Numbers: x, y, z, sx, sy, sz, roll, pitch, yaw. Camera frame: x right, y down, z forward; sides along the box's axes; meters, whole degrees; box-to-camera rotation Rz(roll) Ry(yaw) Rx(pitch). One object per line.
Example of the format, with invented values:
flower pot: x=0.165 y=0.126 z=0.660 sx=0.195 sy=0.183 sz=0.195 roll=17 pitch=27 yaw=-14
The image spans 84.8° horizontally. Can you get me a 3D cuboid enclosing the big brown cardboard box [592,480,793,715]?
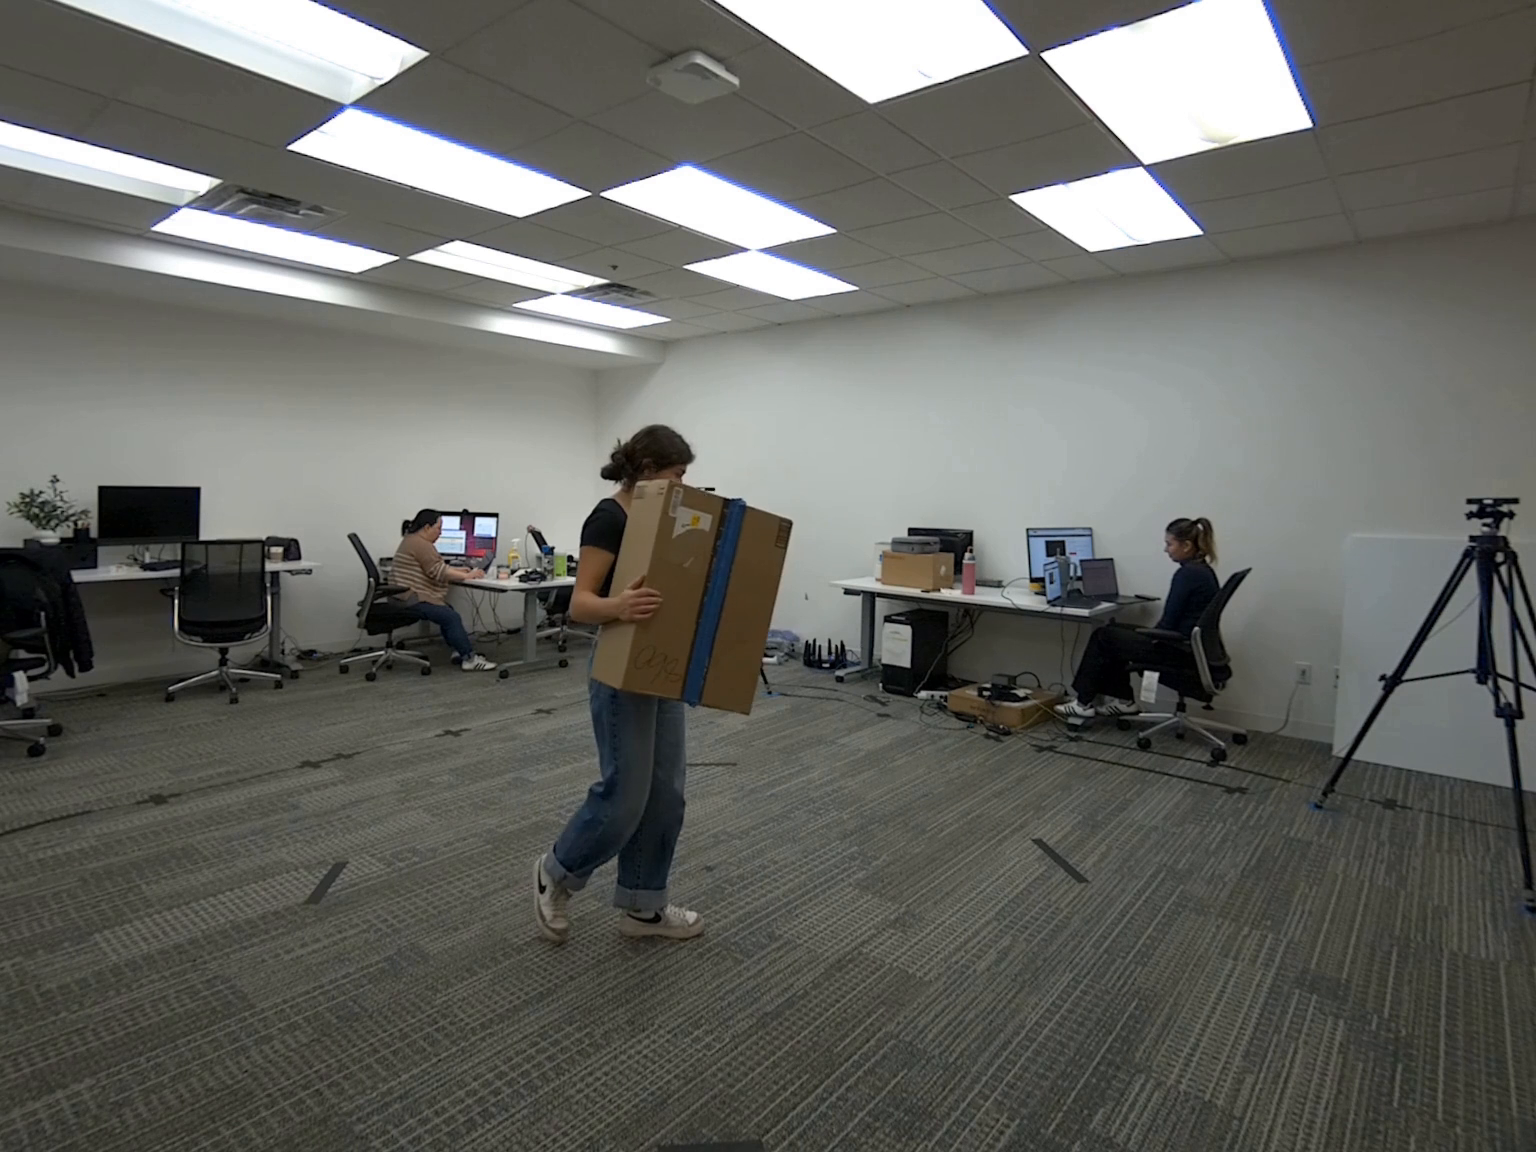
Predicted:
big brown cardboard box: x=-0.220 y=0.055 z=2.406 sx=0.404 sy=0.591 sz=0.240 roll=15 pitch=-6 yaw=-31
